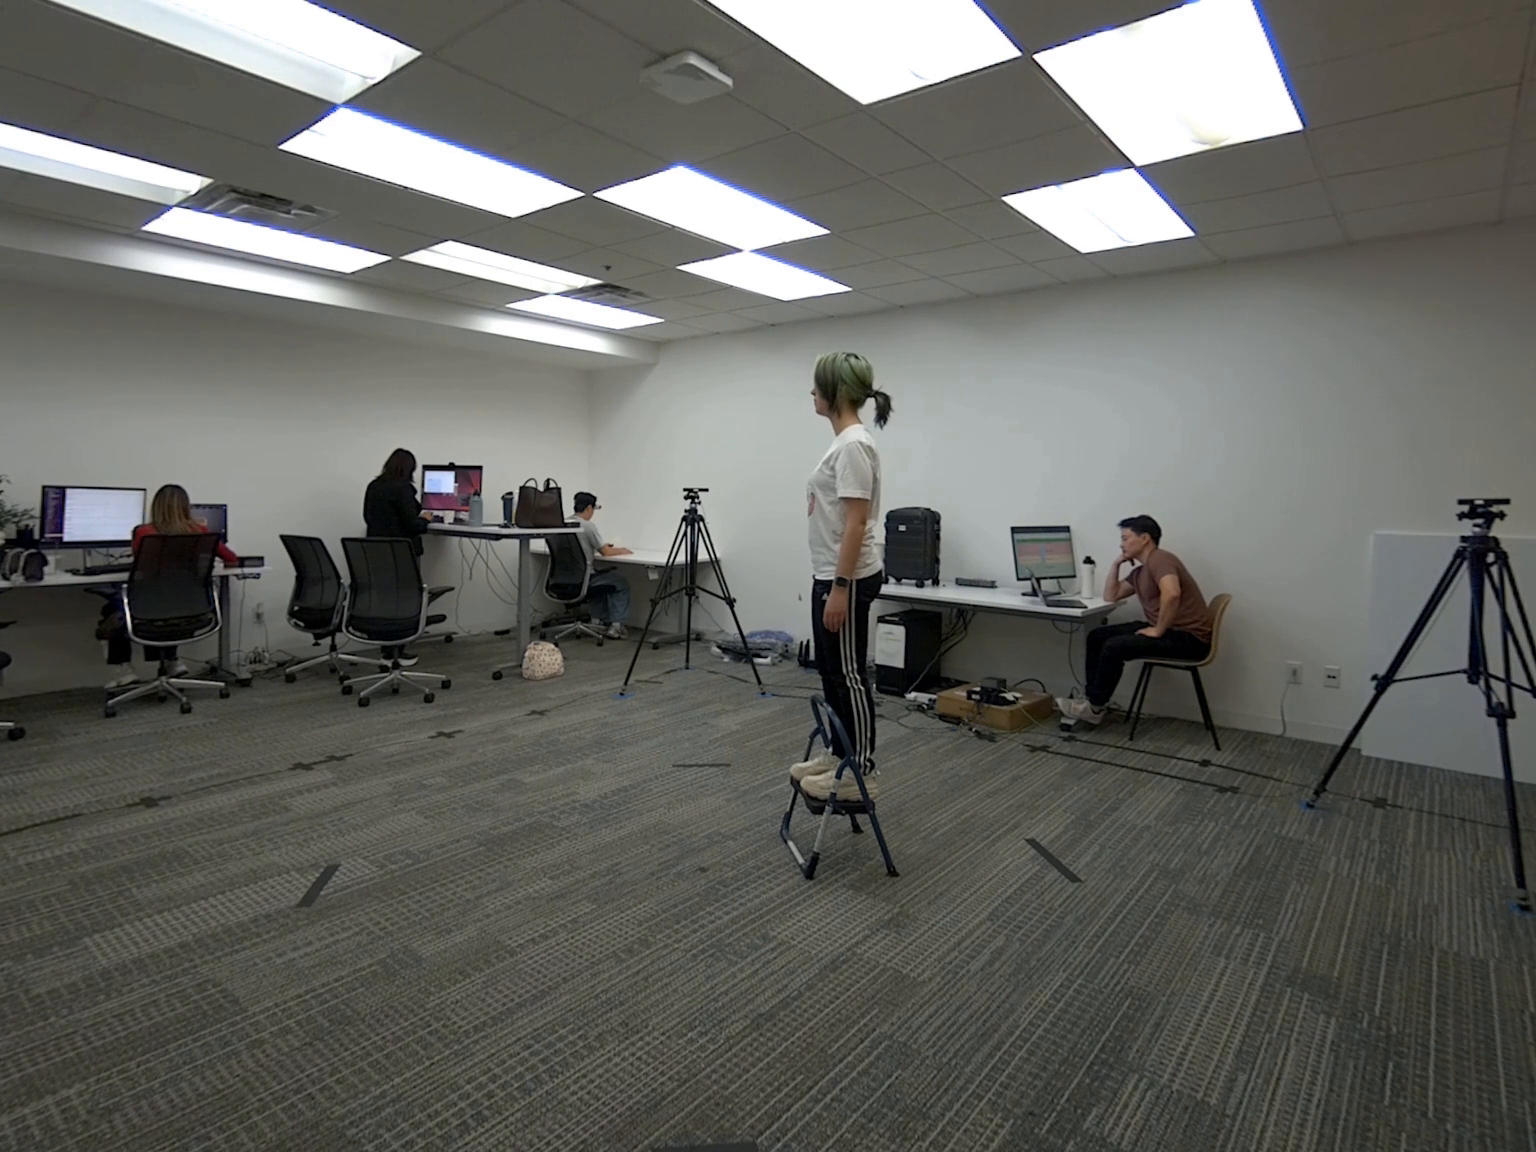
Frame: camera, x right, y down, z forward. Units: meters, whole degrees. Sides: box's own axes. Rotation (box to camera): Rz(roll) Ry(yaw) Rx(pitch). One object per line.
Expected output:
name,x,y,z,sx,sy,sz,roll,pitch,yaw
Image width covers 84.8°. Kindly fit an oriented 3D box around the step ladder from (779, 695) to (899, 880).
step ladder,0.258,0.765,3.255,0.345,0.604,0.437,2,3,-12
